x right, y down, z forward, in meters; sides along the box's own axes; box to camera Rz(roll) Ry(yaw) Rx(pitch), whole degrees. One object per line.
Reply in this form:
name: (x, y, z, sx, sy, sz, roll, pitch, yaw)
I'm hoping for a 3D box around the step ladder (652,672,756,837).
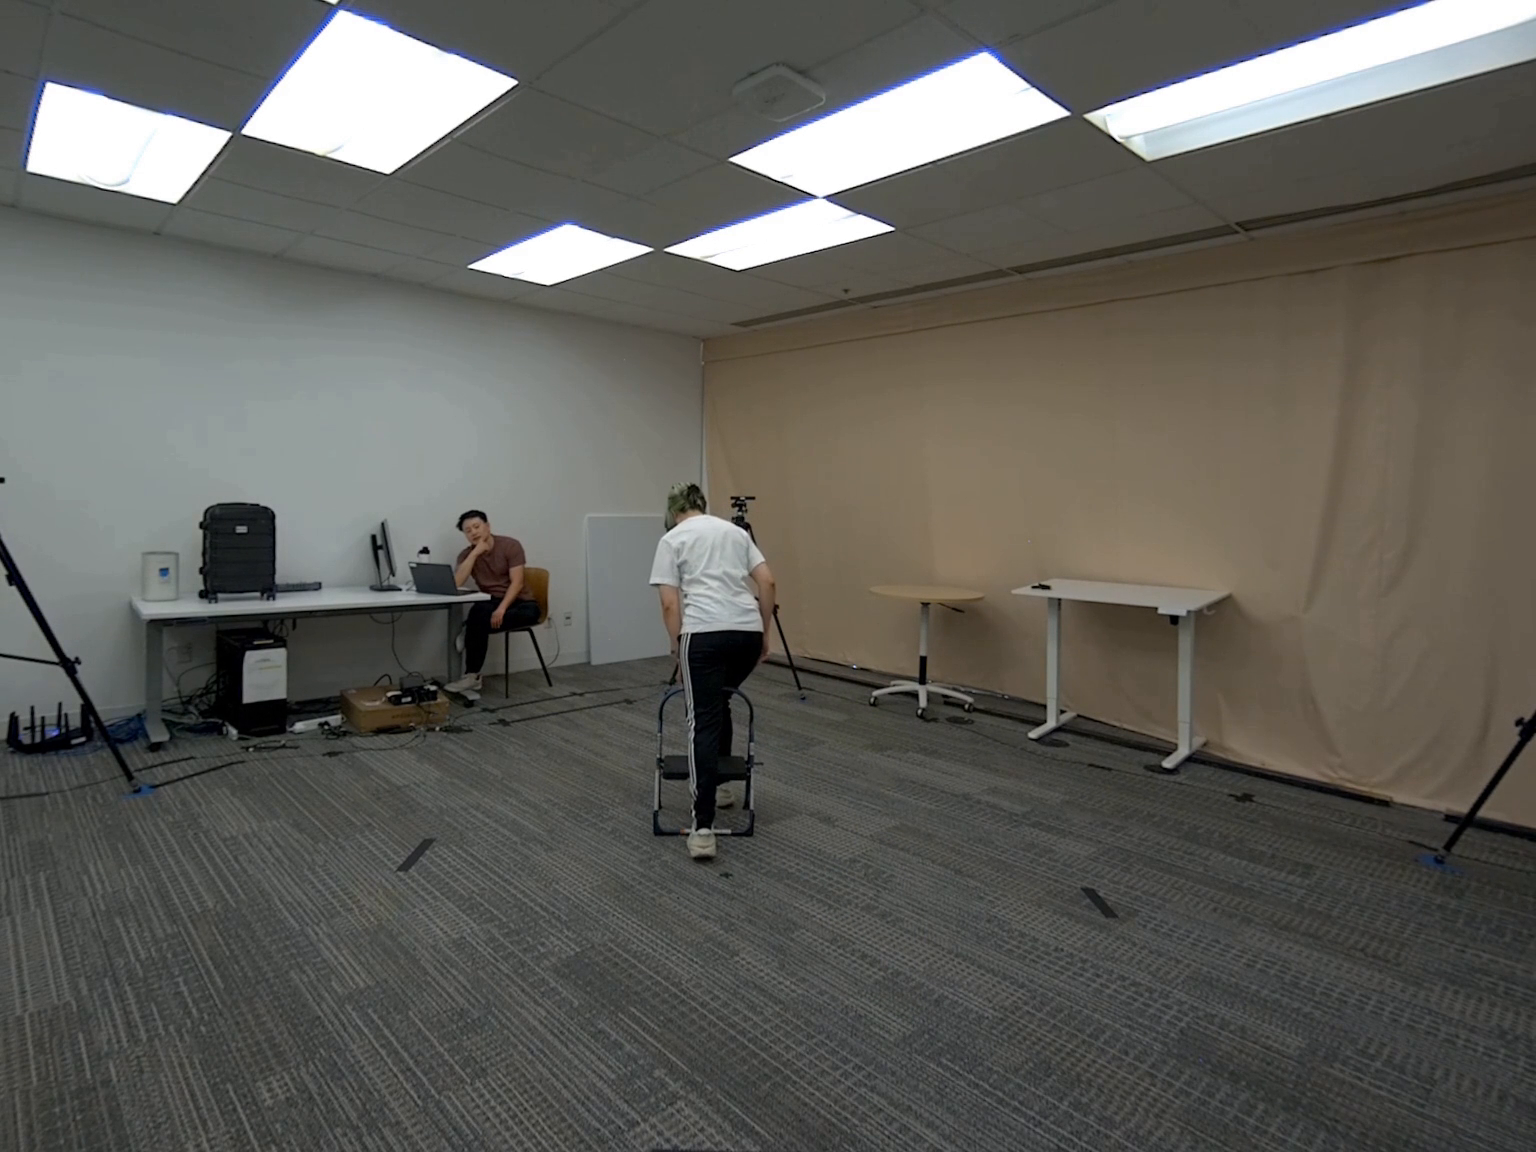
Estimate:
step ladder: (-0.282, 0.756, 3.615, 0.429, 0.604, 0.351, 1, 4, -4)
